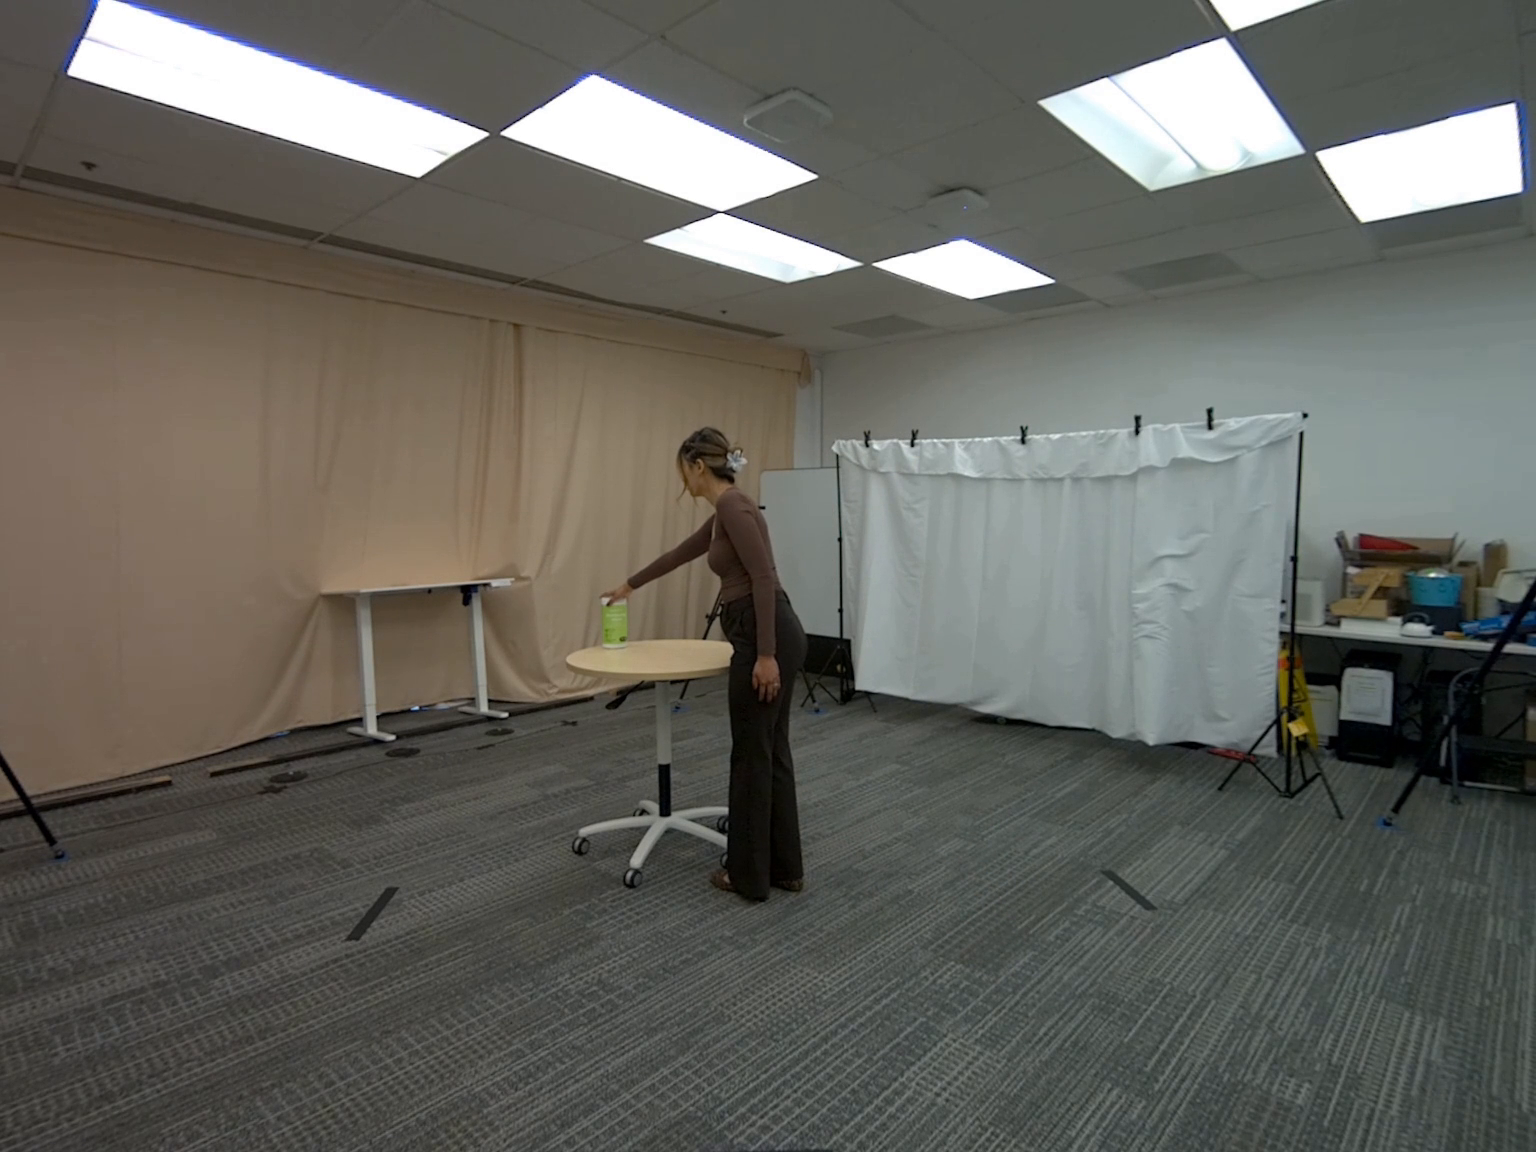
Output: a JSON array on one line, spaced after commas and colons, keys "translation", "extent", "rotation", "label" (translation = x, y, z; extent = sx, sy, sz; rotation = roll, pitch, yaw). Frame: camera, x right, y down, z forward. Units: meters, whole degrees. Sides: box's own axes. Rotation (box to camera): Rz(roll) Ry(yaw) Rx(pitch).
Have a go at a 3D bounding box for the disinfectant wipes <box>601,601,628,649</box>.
[{"translation": [-0.660, 0.200, 3.595], "extent": [0.118, 0.217, 0.118], "rotation": [-1, 4, -2], "label": "disinfectant wipes"}]
